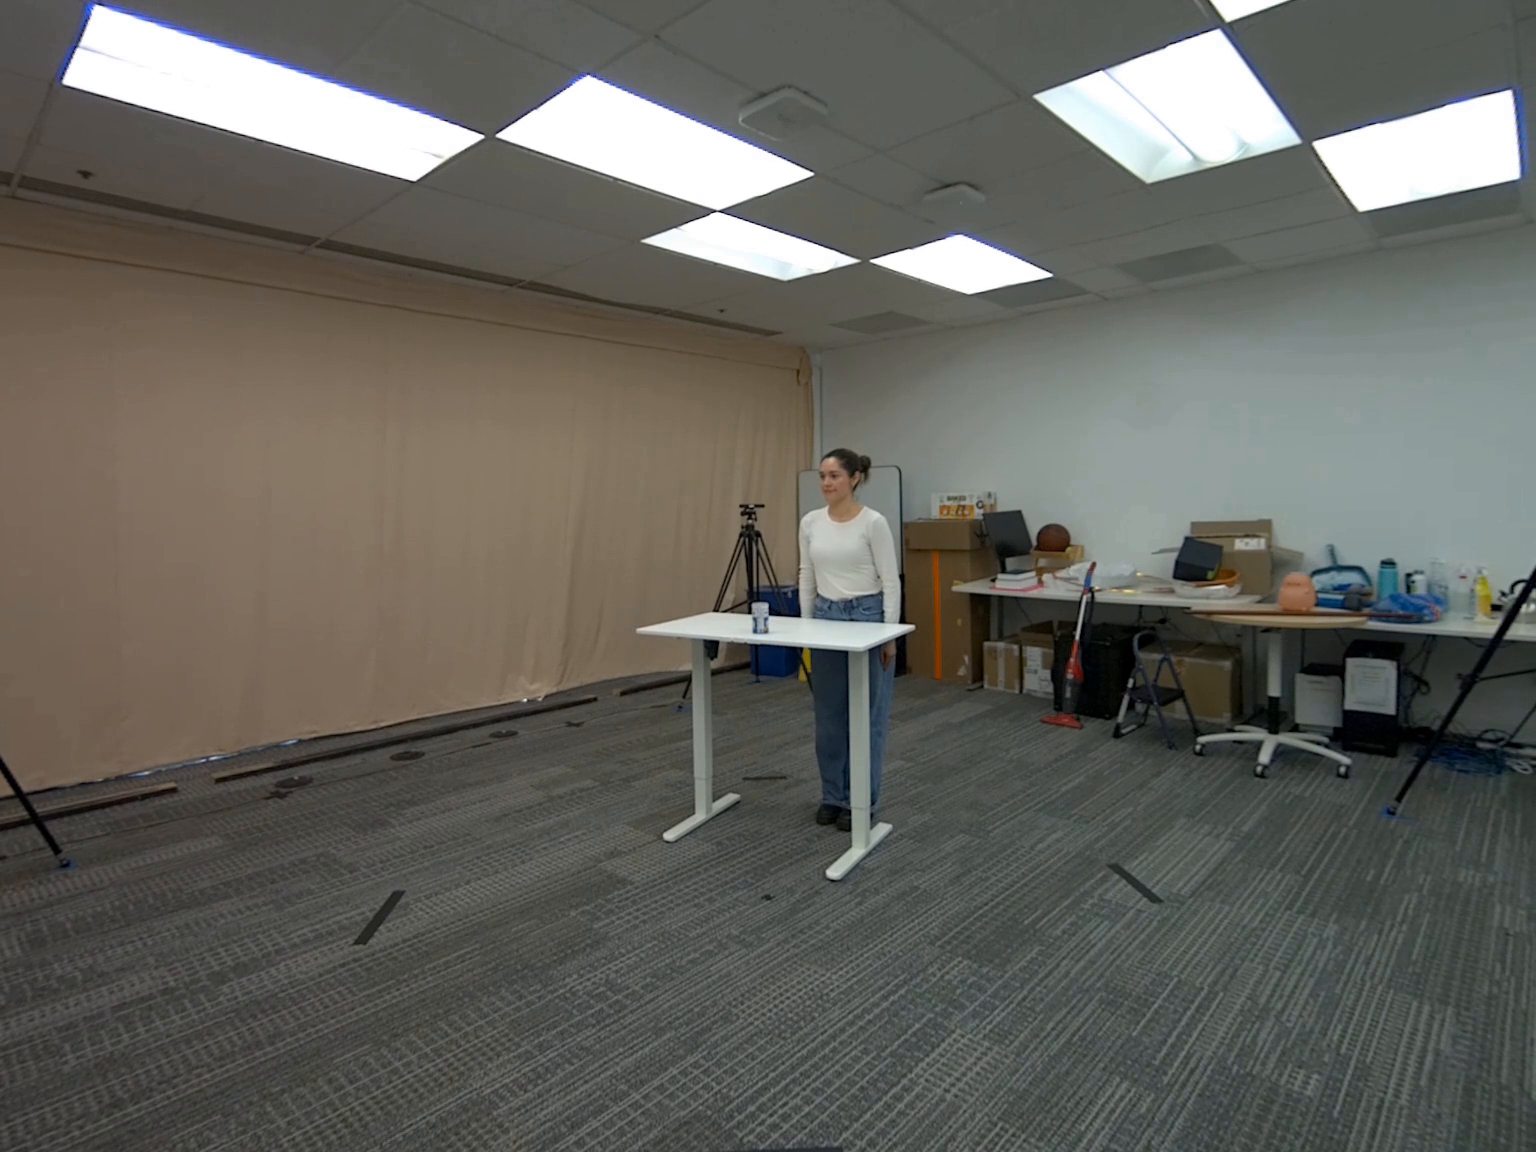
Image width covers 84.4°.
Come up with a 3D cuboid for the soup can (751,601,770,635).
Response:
[{"bbox_3d":[-0.030,0.167,3.351,0.067,0.121,0.067,-1,3,-2],"label":"soup can"}]
